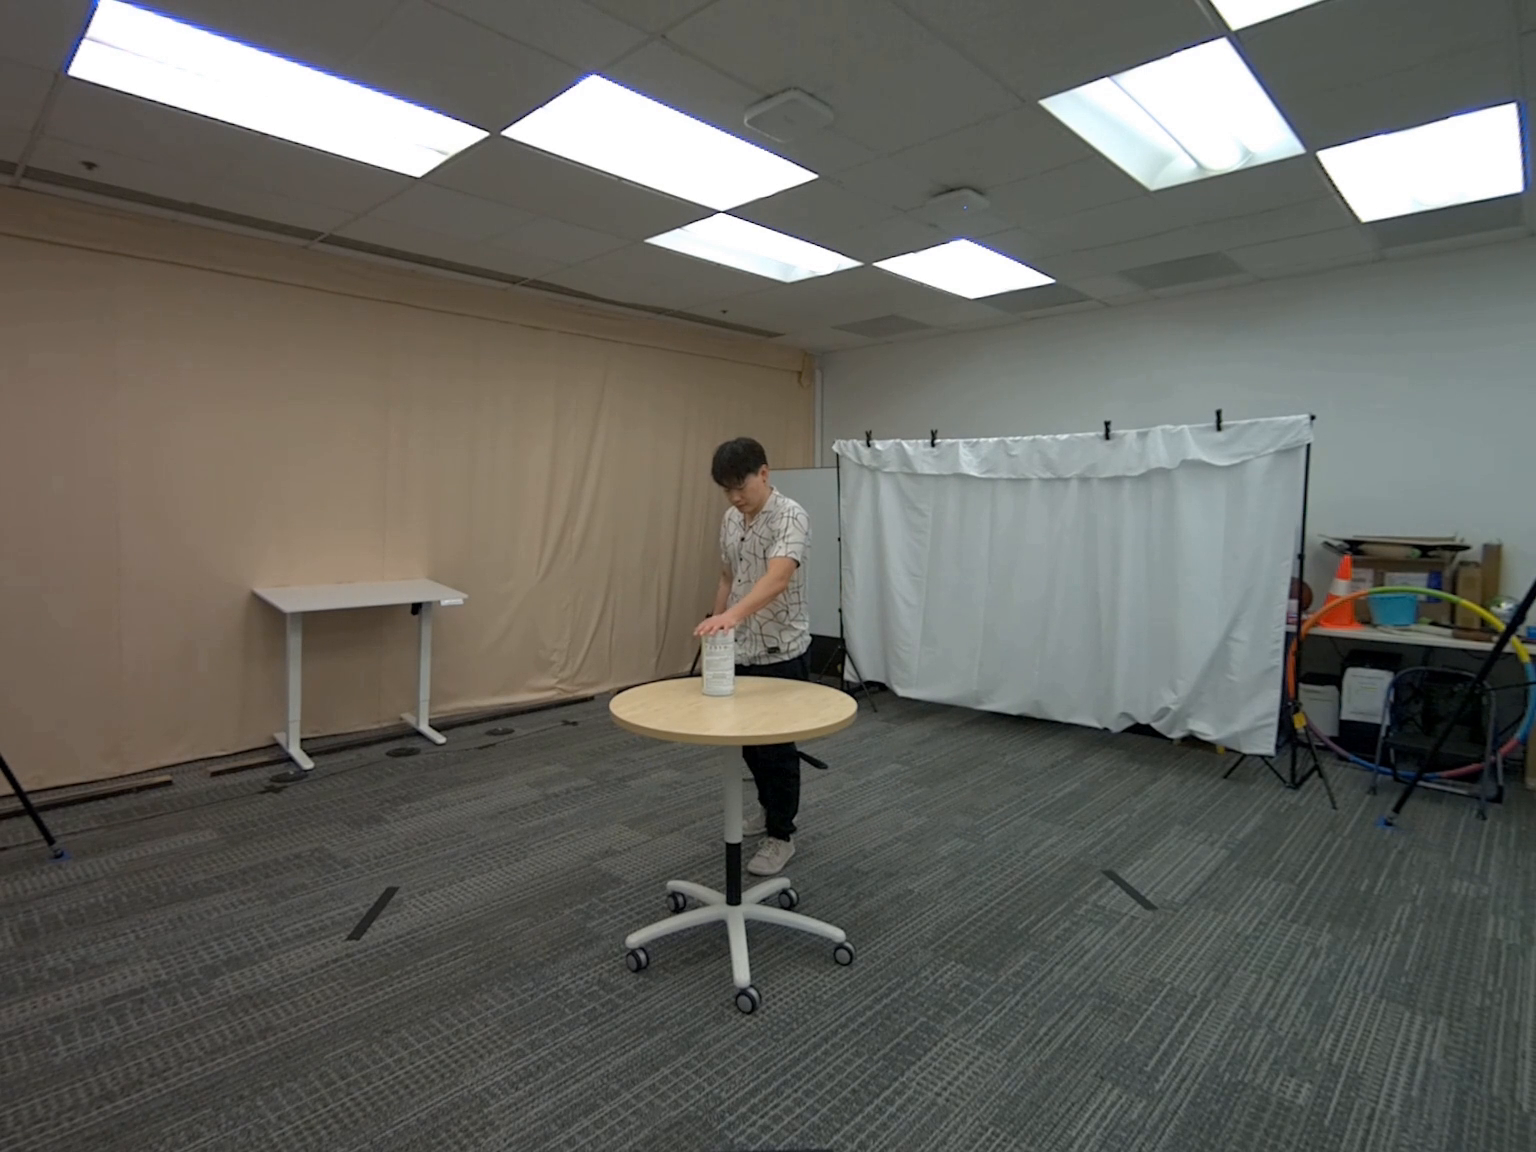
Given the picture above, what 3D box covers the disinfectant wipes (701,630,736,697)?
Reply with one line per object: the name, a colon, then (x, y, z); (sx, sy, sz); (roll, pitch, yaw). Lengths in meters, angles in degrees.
disinfectant wipes: (-0.156, 0.277, 2.743); (0.118, 0.217, 0.118); (1, 2, -2)
